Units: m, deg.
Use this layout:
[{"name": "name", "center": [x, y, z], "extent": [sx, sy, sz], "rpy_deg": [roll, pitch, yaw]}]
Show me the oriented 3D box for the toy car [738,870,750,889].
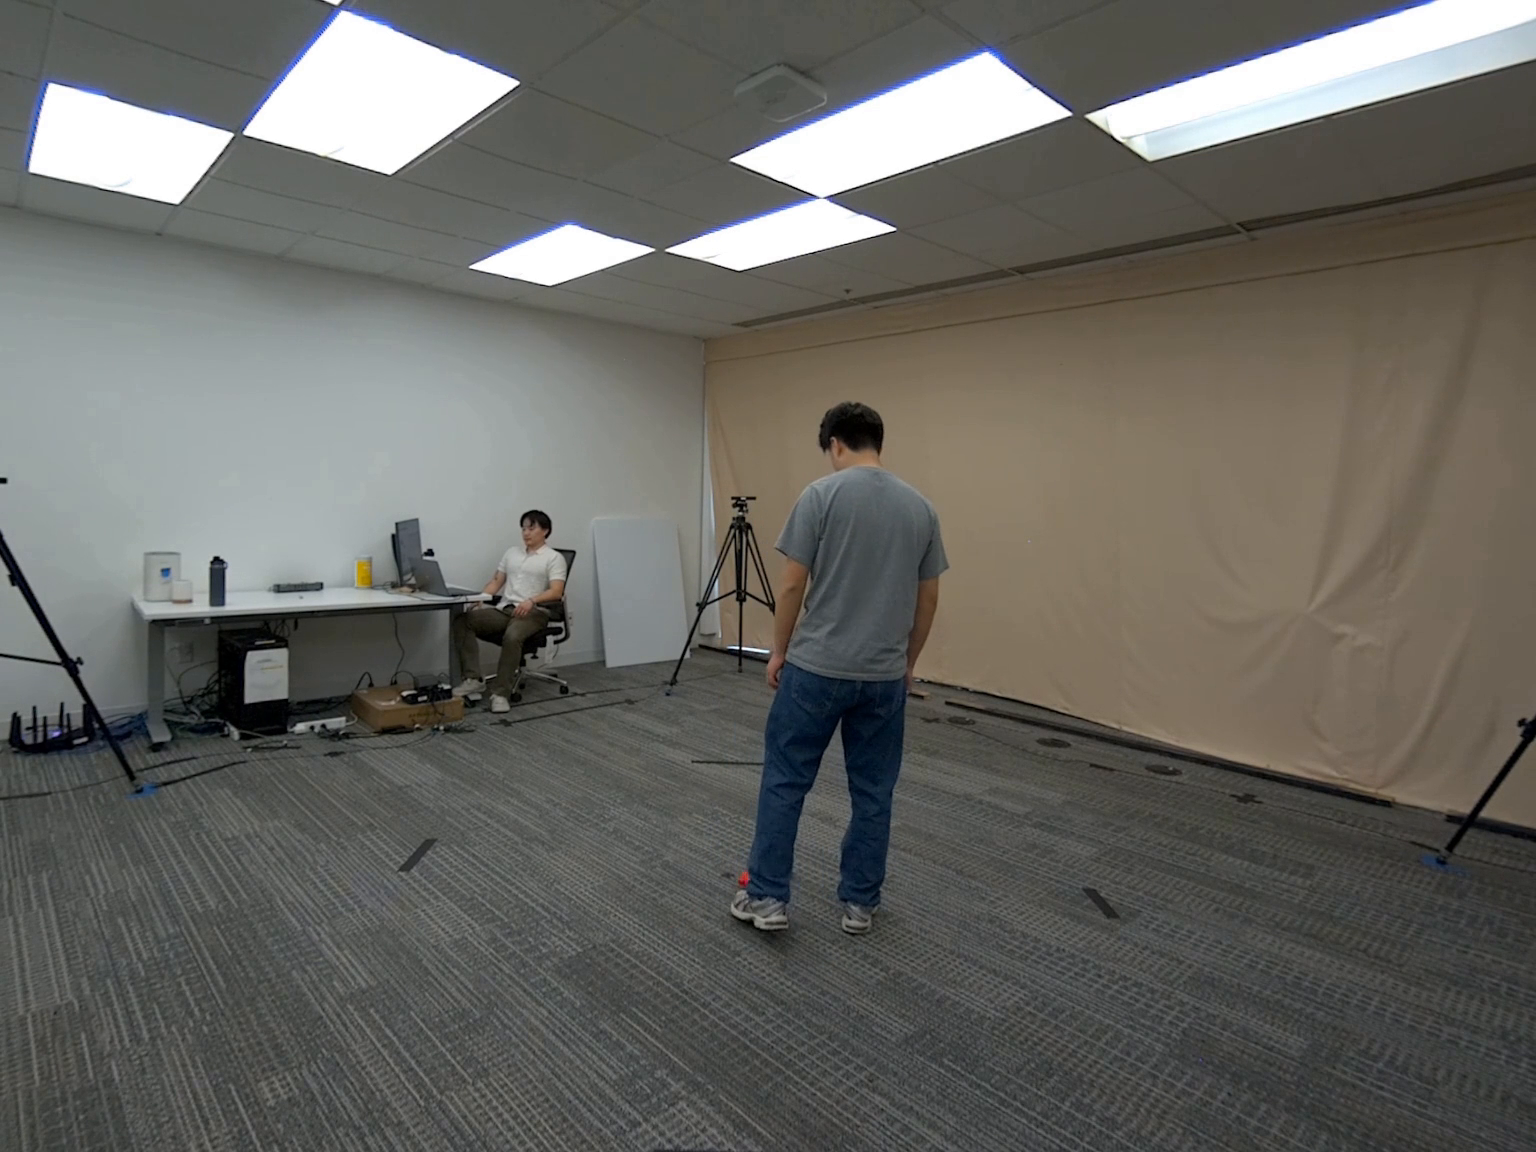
[{"name": "toy car", "center": [-0.015, 1.085, 3.040], "extent": [0.133, 0.083, 0.248], "rpy_deg": [4, -5, 29]}]
